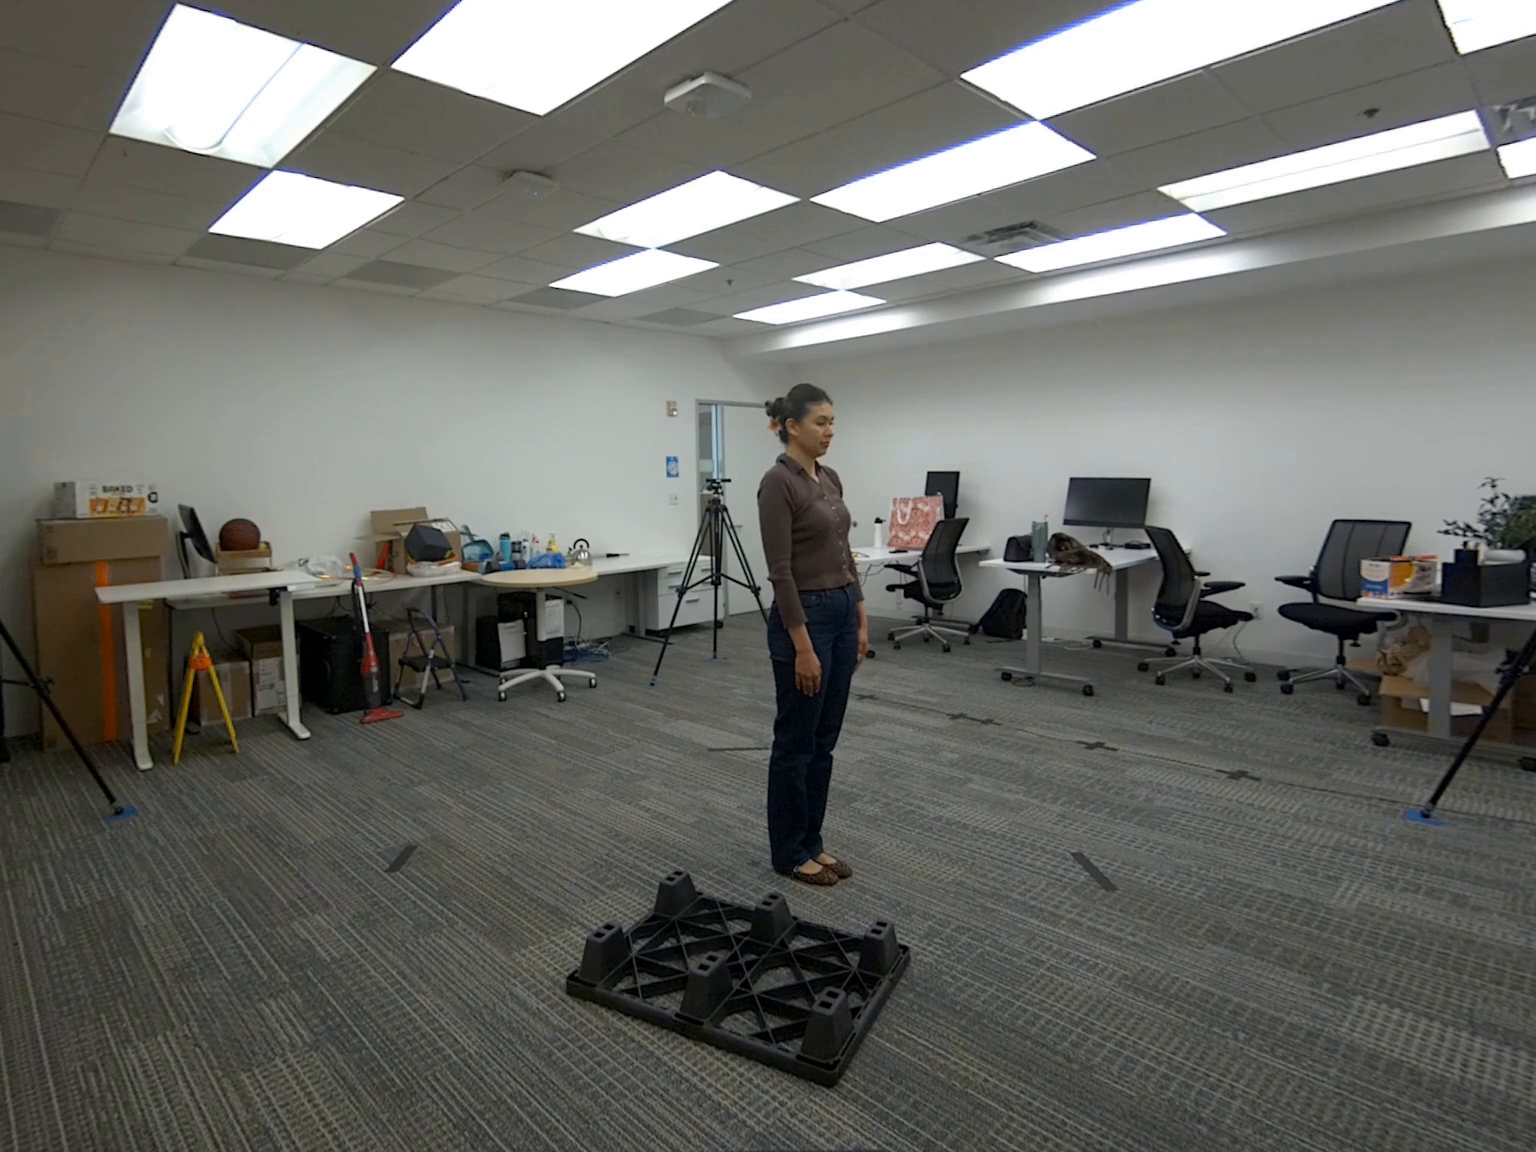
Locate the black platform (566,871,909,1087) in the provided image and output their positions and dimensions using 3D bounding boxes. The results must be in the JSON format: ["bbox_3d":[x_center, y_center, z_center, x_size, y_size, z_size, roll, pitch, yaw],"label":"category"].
[{"bbox_3d":[-0.075,1.062,2.400,0.826,0.143,0.593,2,7,28],"label":"black platform"}]
